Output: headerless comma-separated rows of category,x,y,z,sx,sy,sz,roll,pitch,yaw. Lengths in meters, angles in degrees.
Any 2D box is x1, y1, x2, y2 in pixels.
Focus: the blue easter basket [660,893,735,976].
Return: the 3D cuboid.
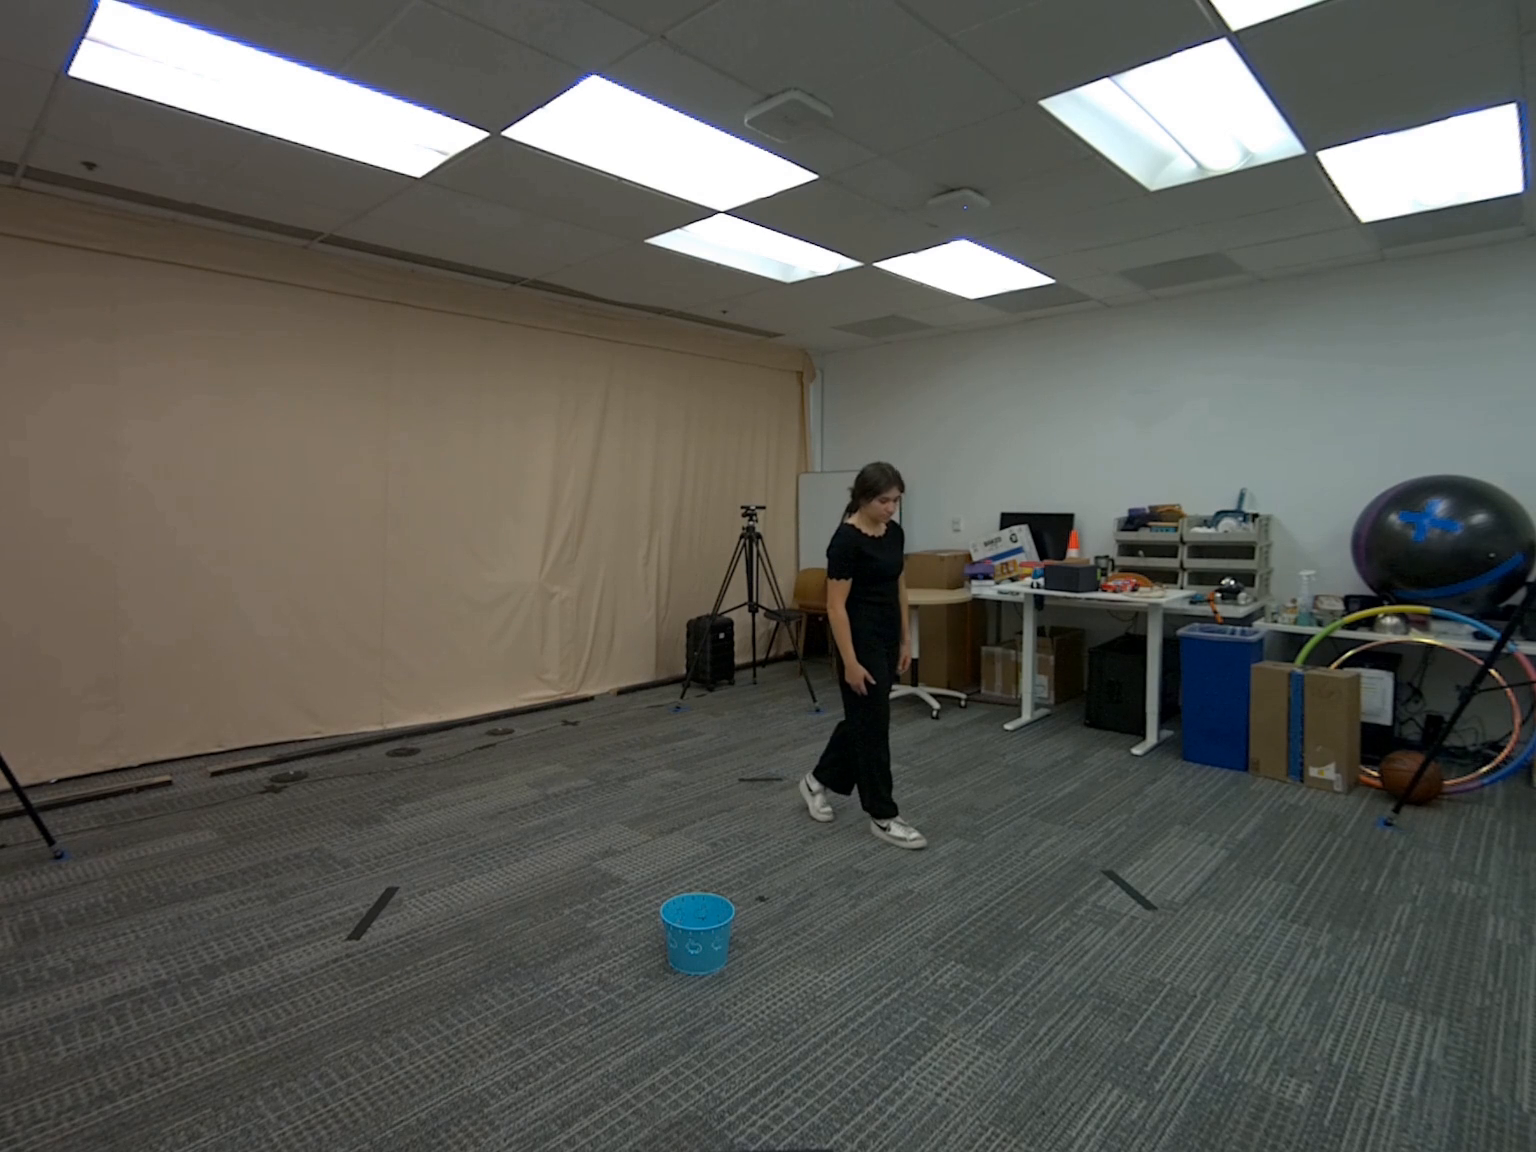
blue easter basket,-0.218,1.096,2.592,0.243,0.155,0.244,0,4,-2
